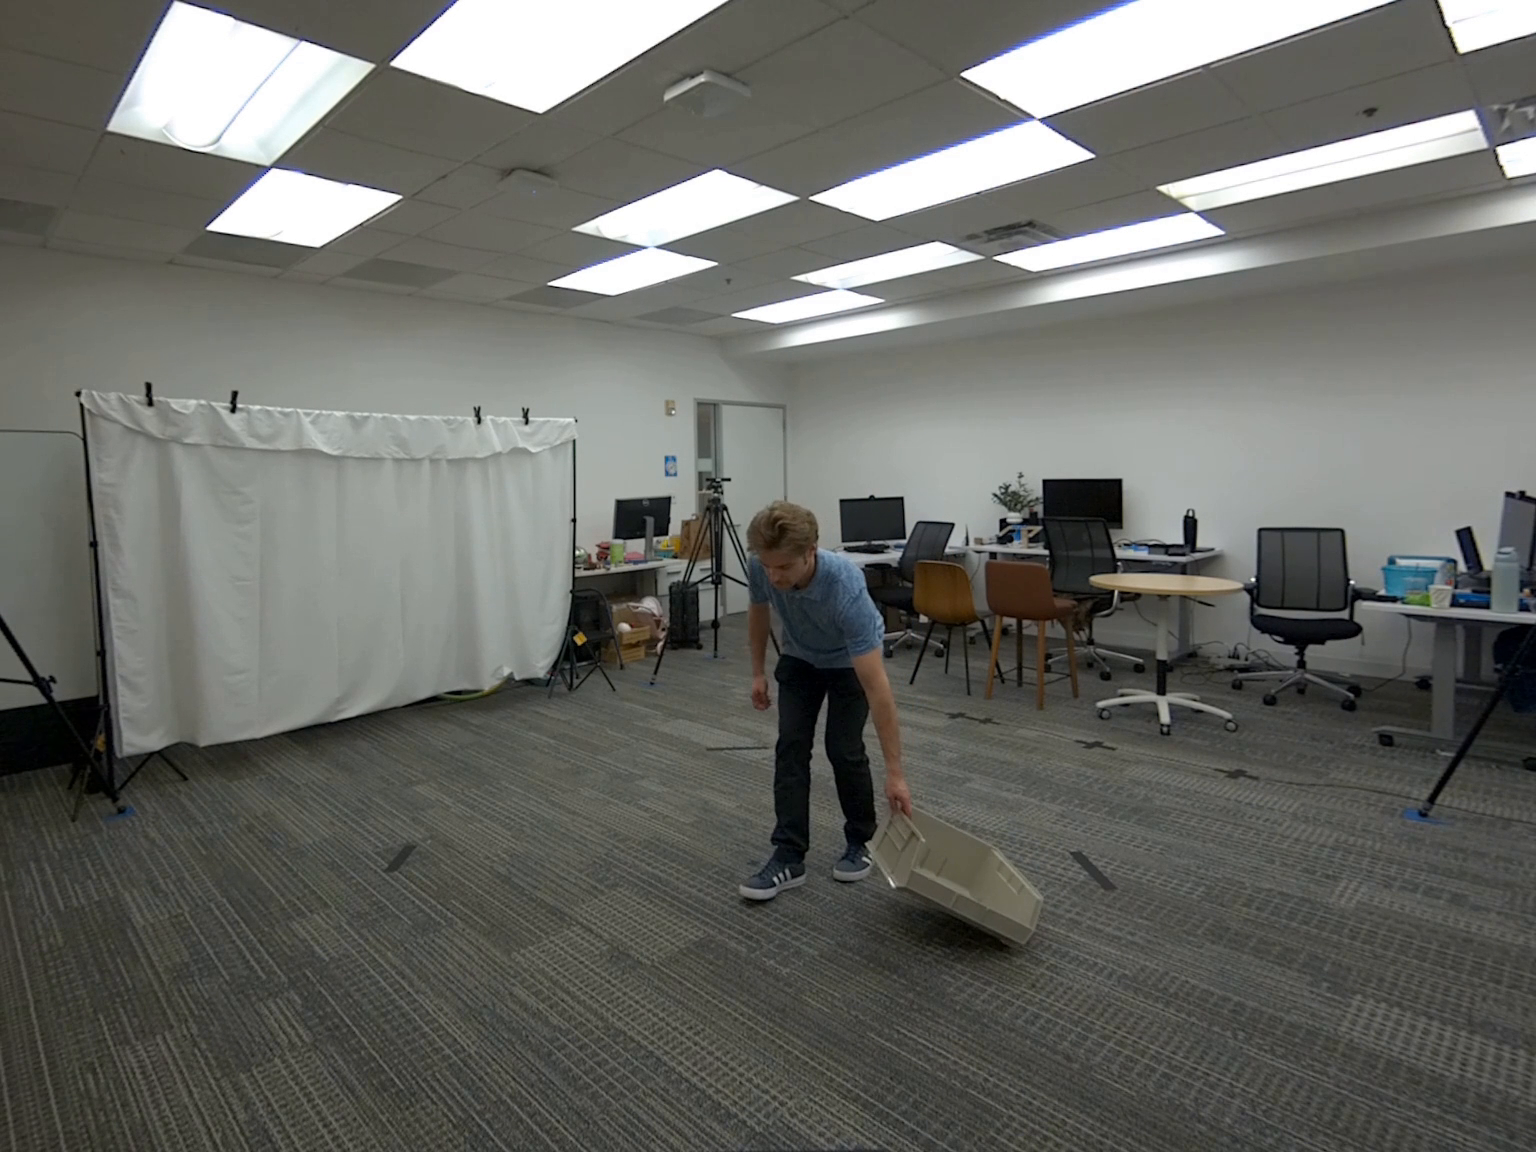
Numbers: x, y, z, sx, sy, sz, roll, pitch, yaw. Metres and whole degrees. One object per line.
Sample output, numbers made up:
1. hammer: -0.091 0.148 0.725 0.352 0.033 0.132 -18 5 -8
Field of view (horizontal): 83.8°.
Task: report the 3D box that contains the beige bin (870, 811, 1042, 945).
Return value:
1. beige bin: 0.561 0.898 2.637 0.420 0.189 0.380 26 -1 -6
